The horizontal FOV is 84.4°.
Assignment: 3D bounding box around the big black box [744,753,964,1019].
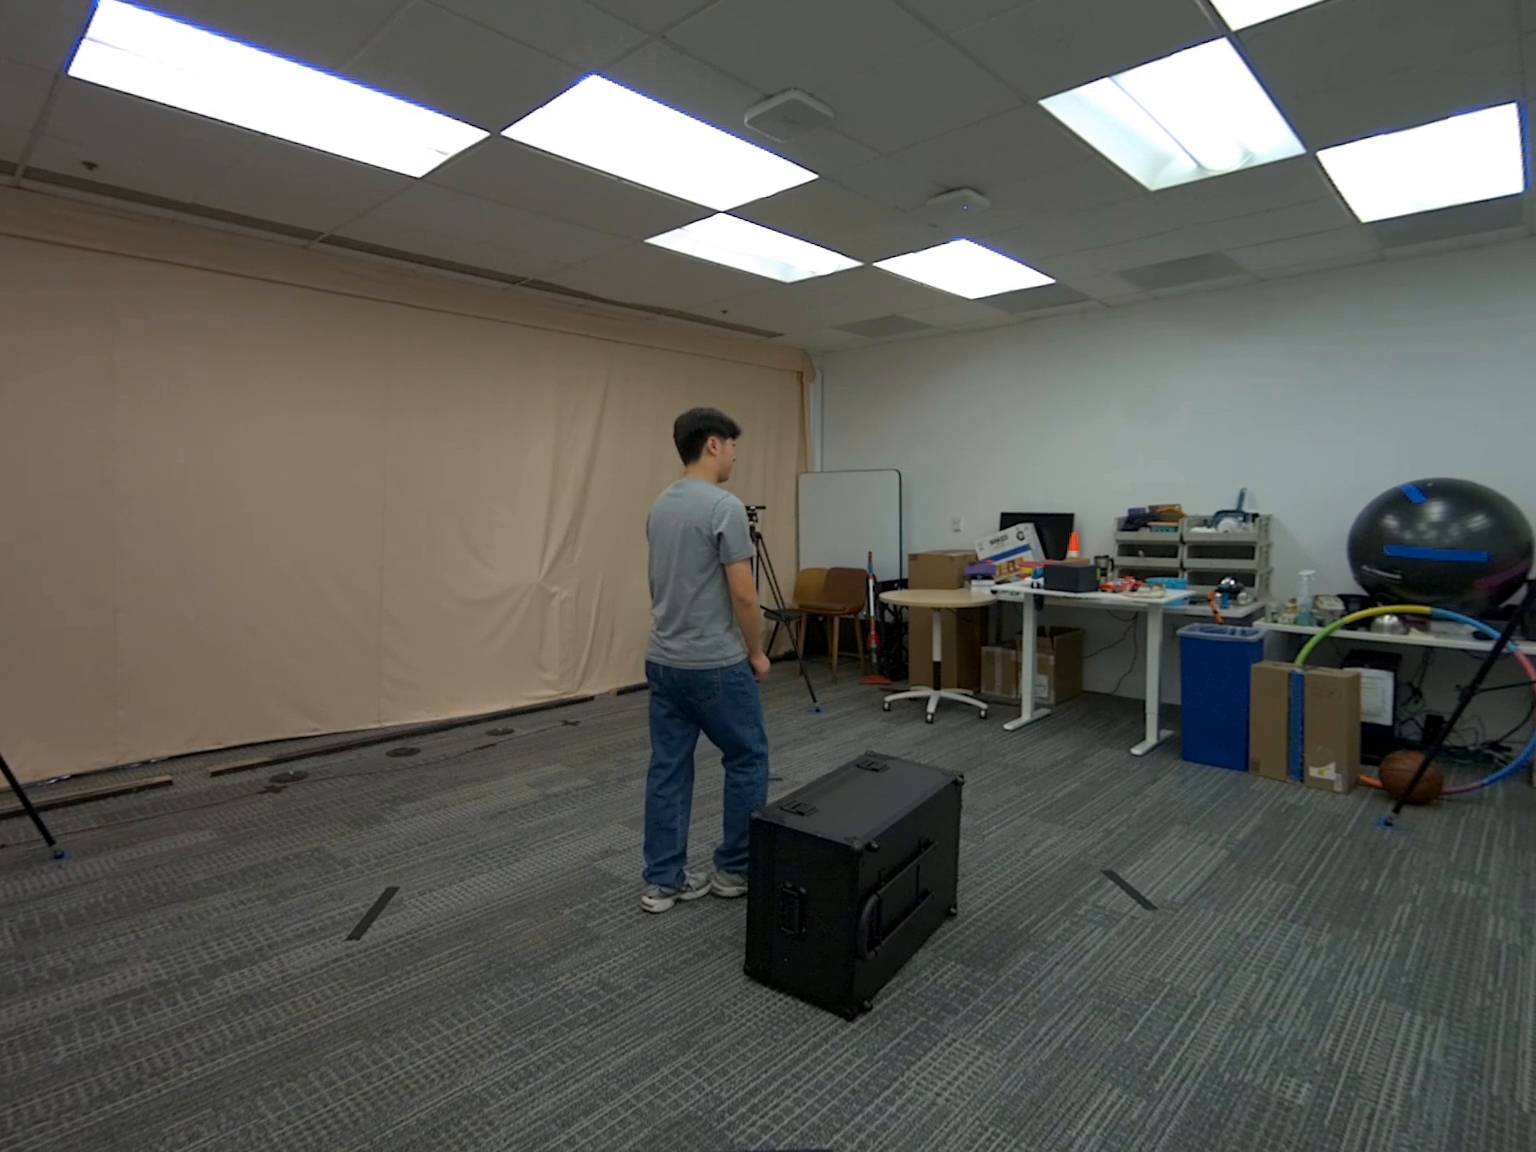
[{"bbox_3d":[0.333,0.914,2.676,0.409,0.519,0.837,5,7,33],"label":"big black box"}]
